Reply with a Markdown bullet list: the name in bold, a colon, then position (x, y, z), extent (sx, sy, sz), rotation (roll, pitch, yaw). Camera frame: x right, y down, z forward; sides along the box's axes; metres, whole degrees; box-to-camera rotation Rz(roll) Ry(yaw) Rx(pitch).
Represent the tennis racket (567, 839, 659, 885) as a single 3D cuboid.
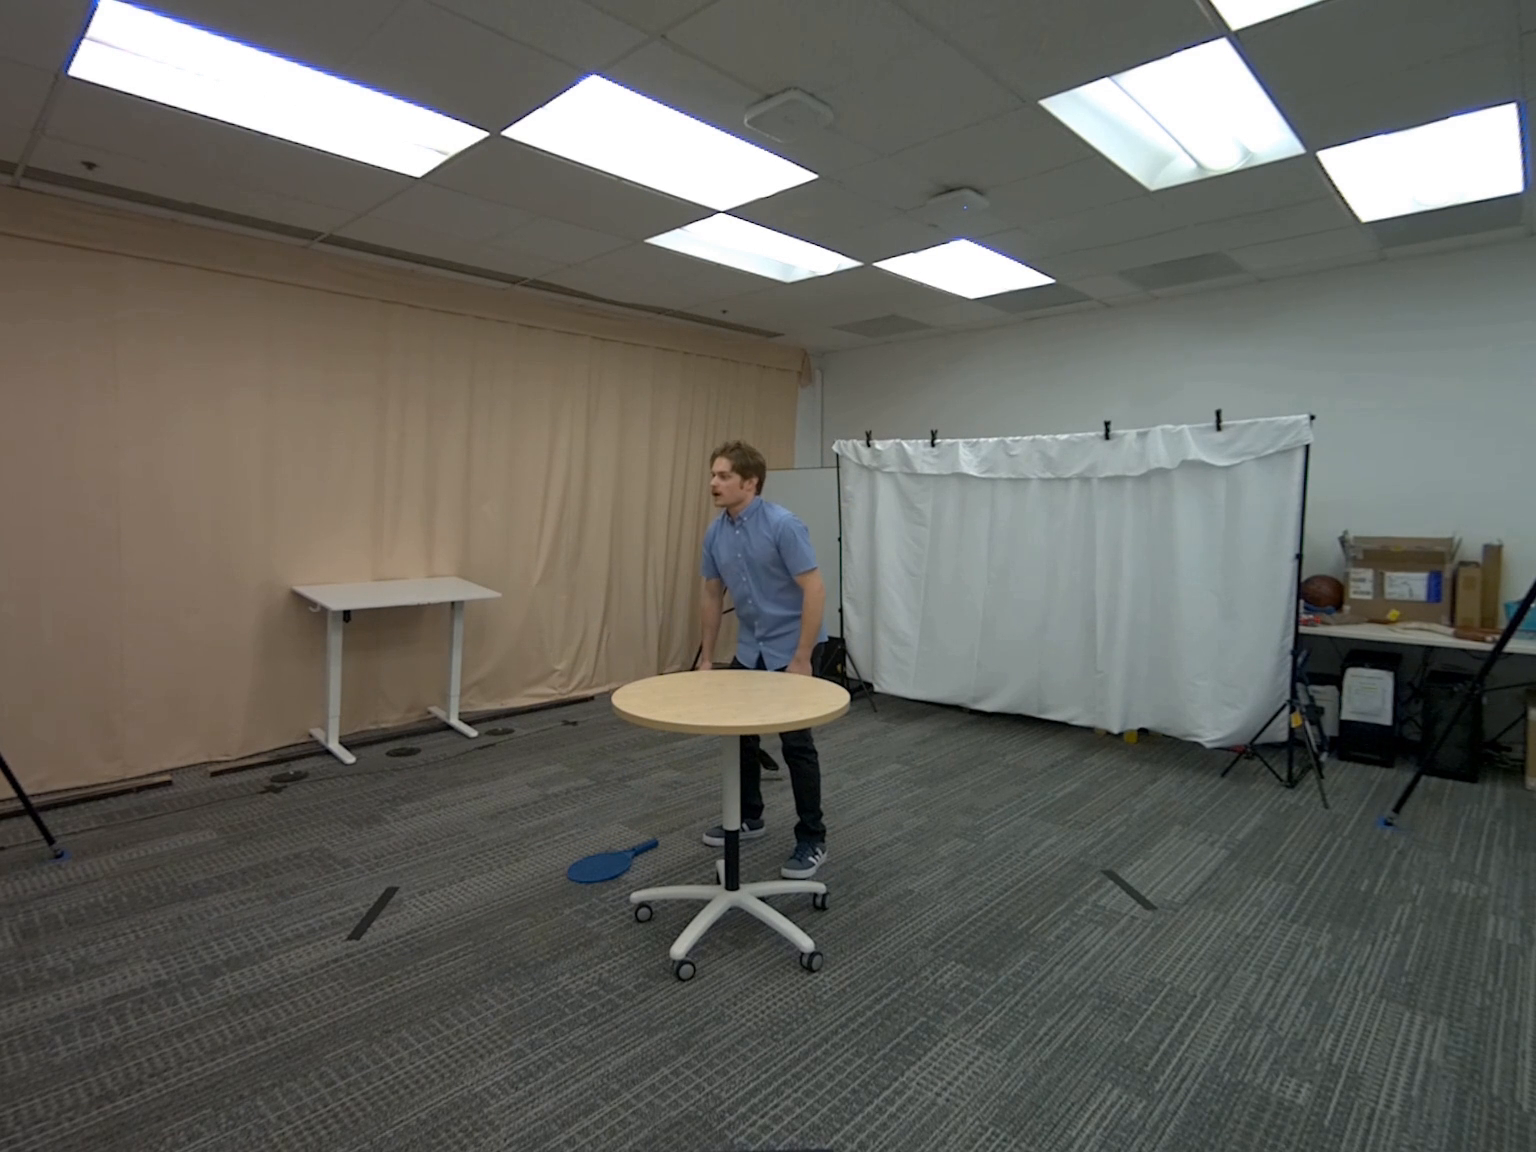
- **tennis racket**: position (-0.592, 1.108, 3.294), extent (0.221, 0.031, 0.420), rotation (3, 7, 40)
